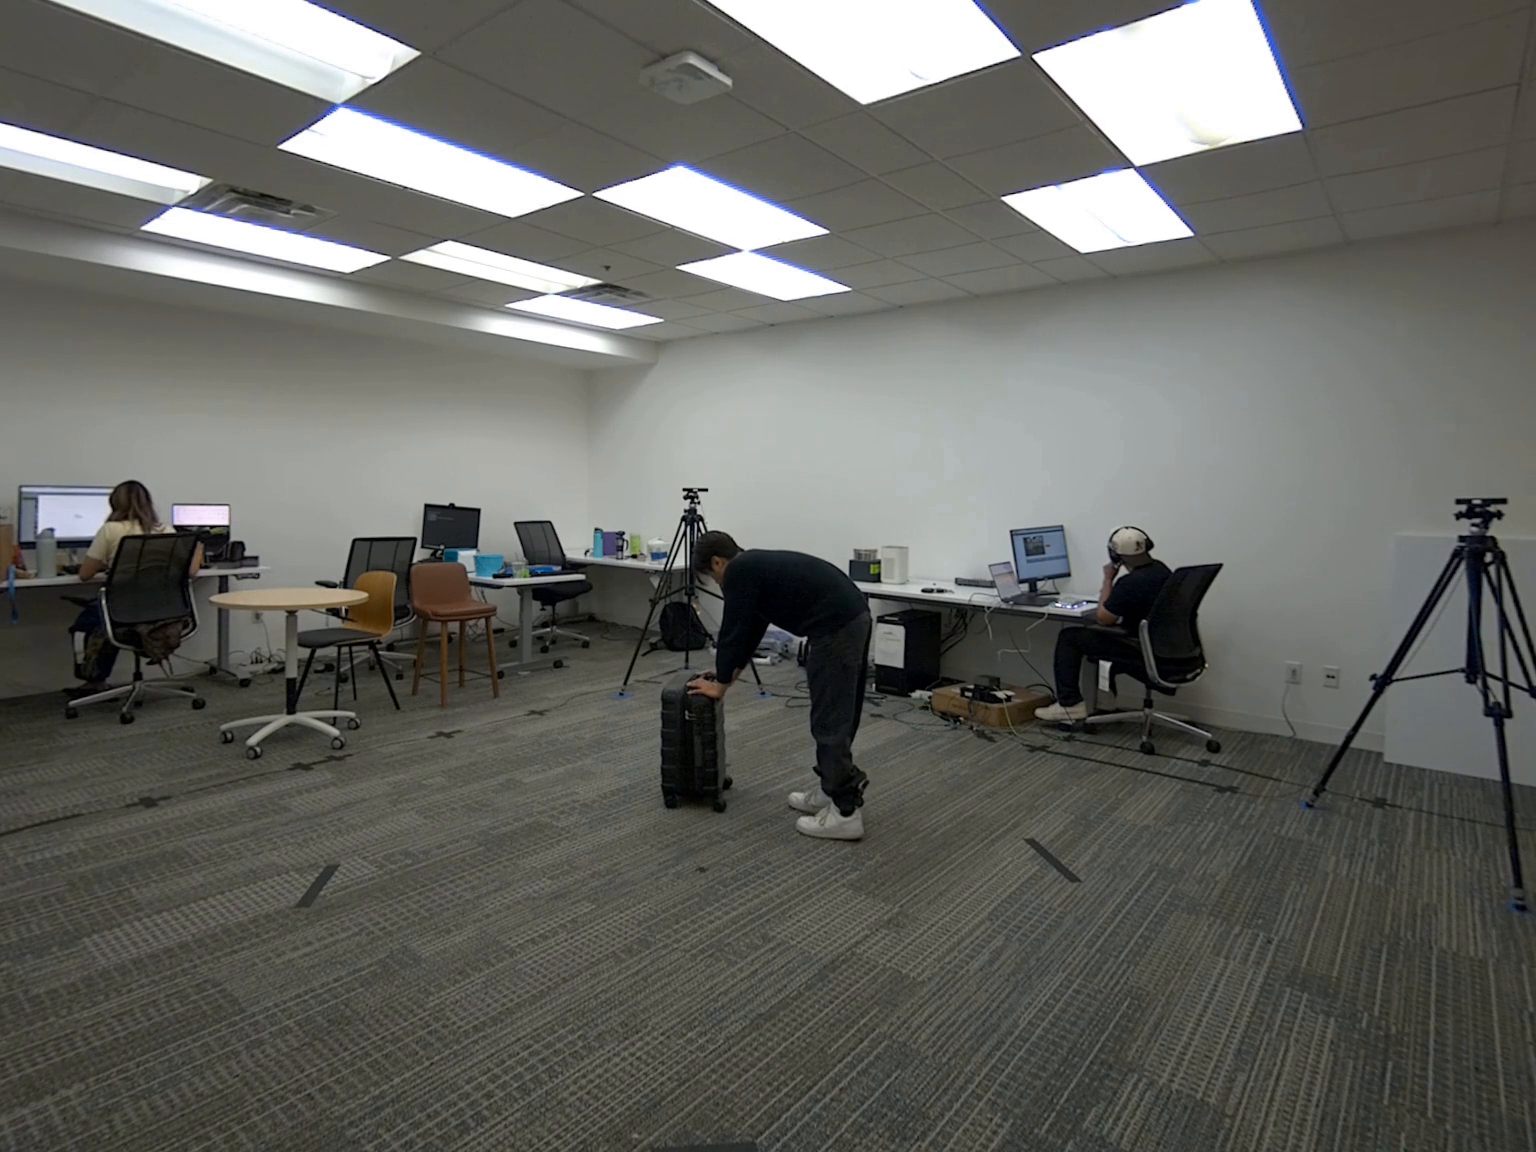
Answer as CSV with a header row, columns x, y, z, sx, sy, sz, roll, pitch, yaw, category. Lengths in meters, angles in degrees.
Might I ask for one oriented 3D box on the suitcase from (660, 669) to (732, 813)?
x,y,z,sx,sy,sz,roll,pitch,yaw,category
-0.347,0.724,3.840,0.250,0.548,0.374,-1,3,6,suitcase
